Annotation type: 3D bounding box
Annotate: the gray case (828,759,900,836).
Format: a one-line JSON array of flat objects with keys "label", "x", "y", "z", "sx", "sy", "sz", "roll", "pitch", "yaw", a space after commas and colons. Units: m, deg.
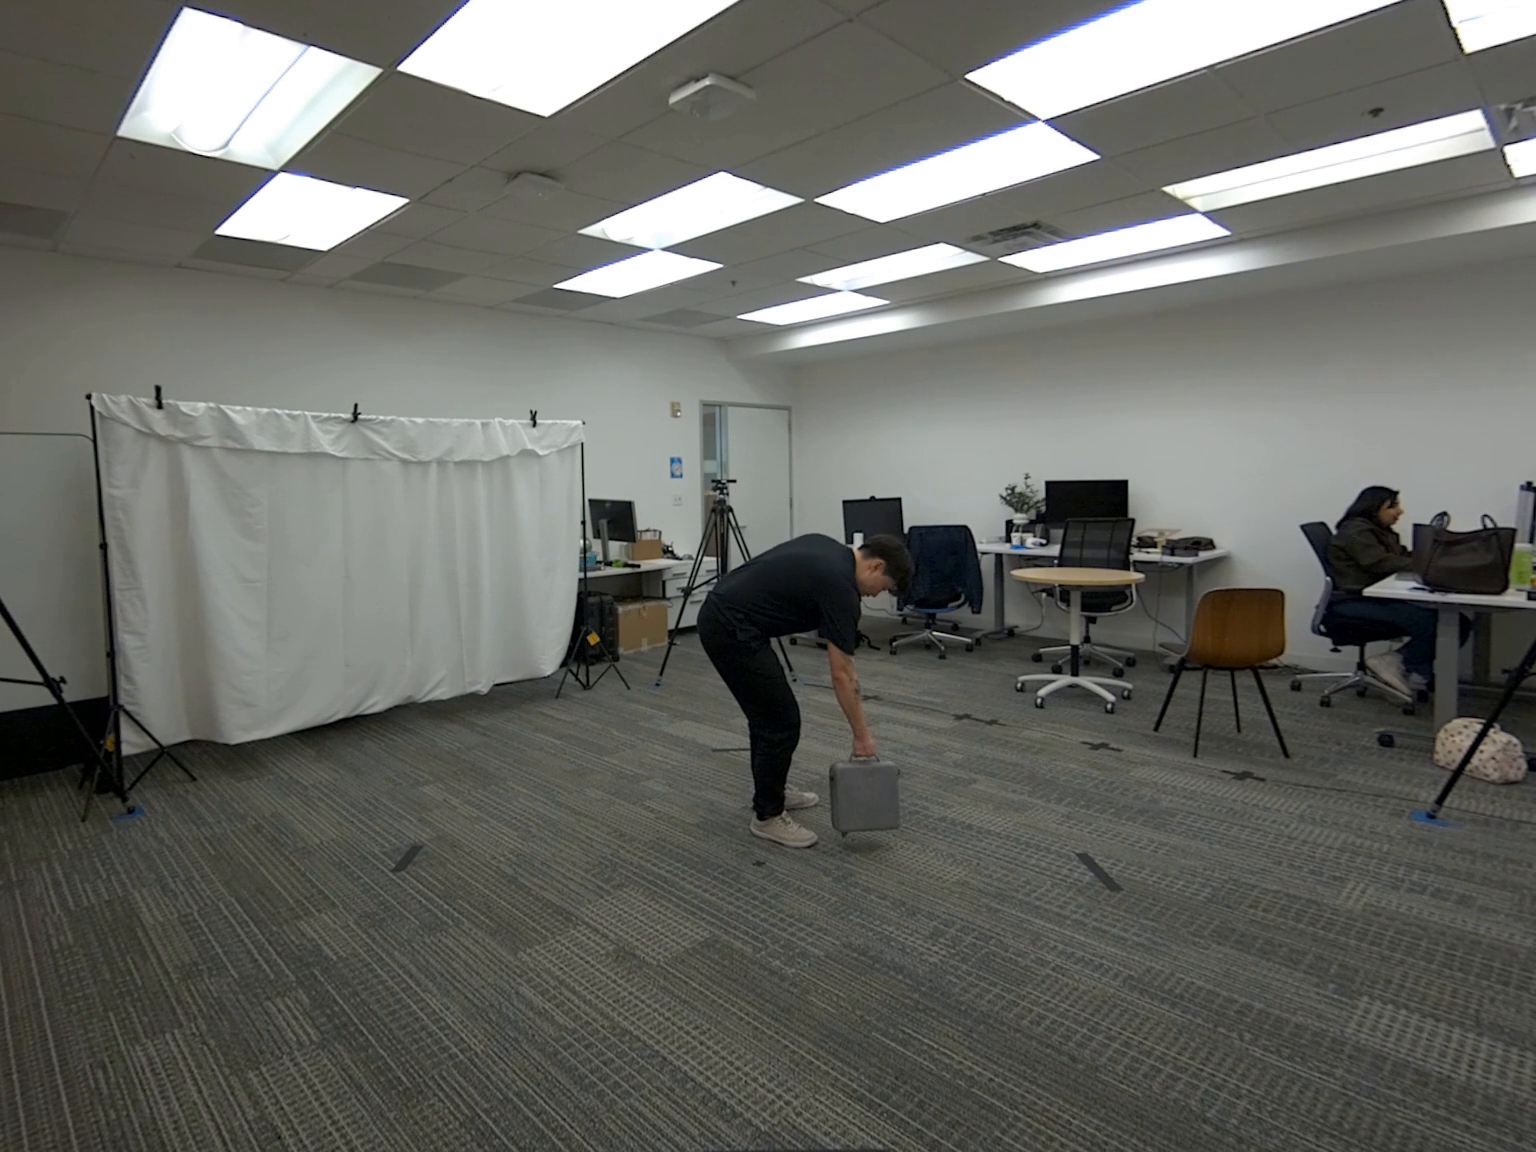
[{"label": "gray case", "x": 0.372, "y": 0.825, "z": 3.226, "sx": 0.255, "sy": 0.261, "sz": 0.105, "roll": -1, "pitch": -4, "yaw": -7}]
